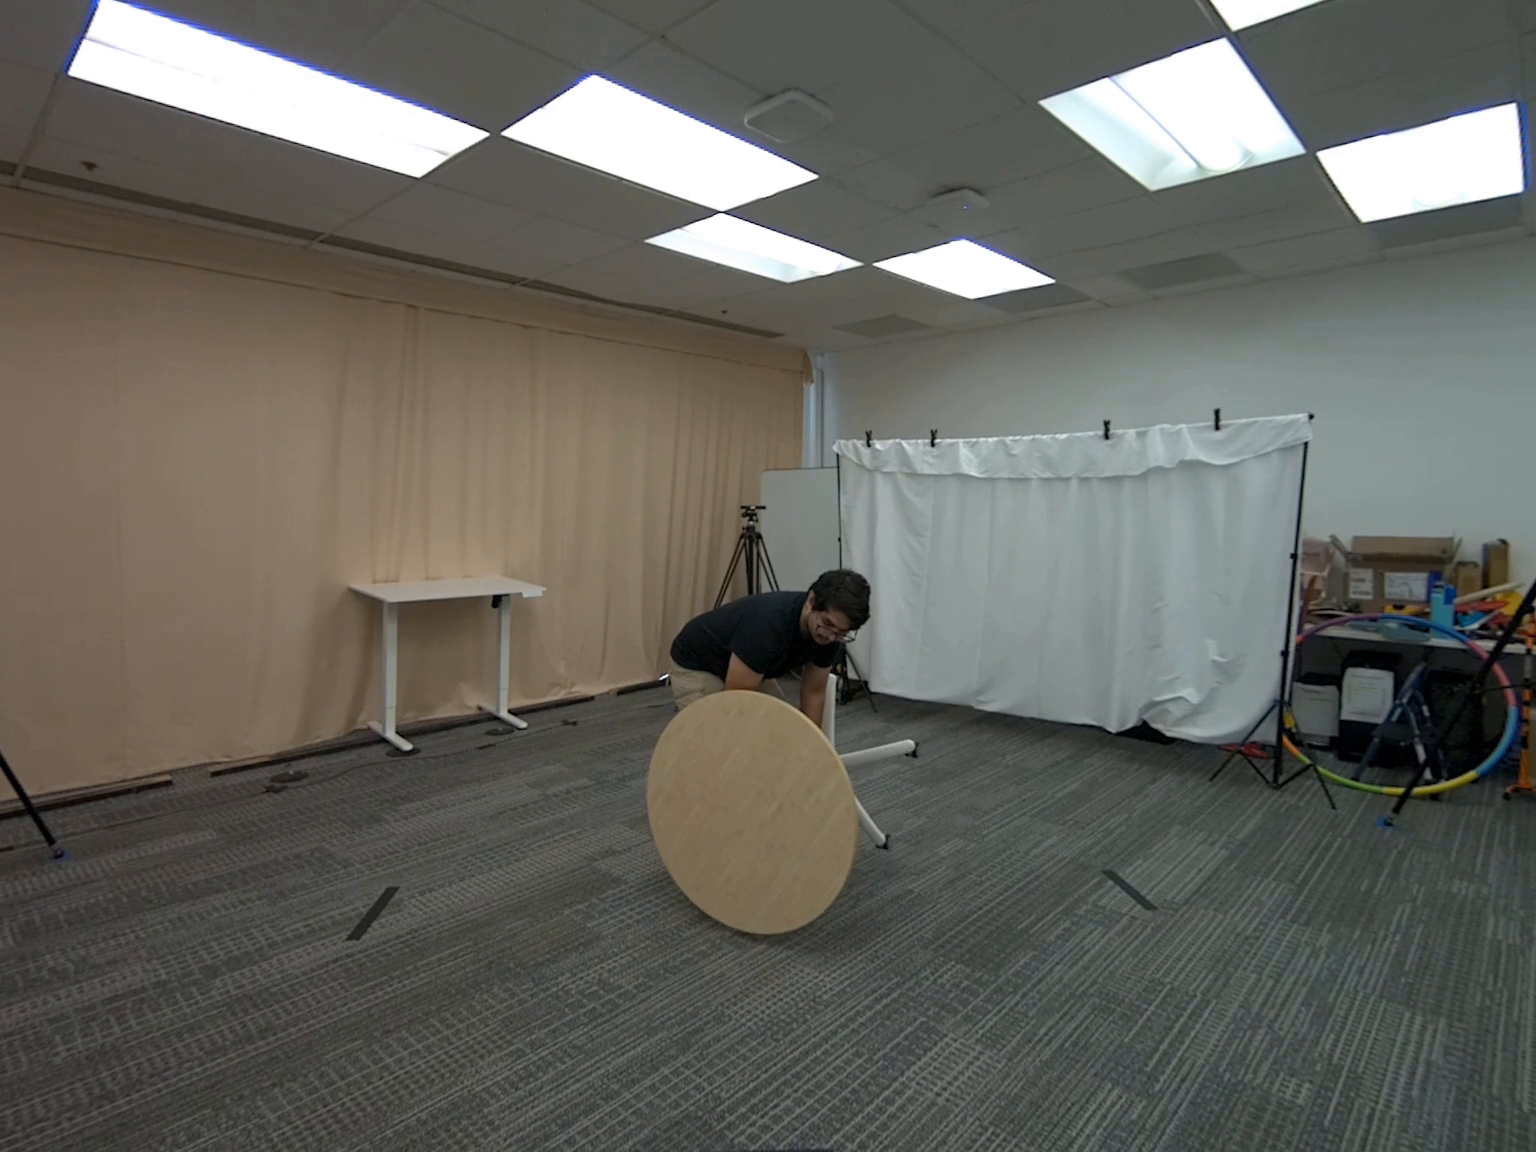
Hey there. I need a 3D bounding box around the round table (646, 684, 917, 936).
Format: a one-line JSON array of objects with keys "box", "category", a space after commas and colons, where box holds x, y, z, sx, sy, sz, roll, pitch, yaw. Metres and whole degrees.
[{"box": [0.112, 0.739, 3.041, 0.807, 0.784, 0.765, 2, 2, 29], "category": "round table"}]
